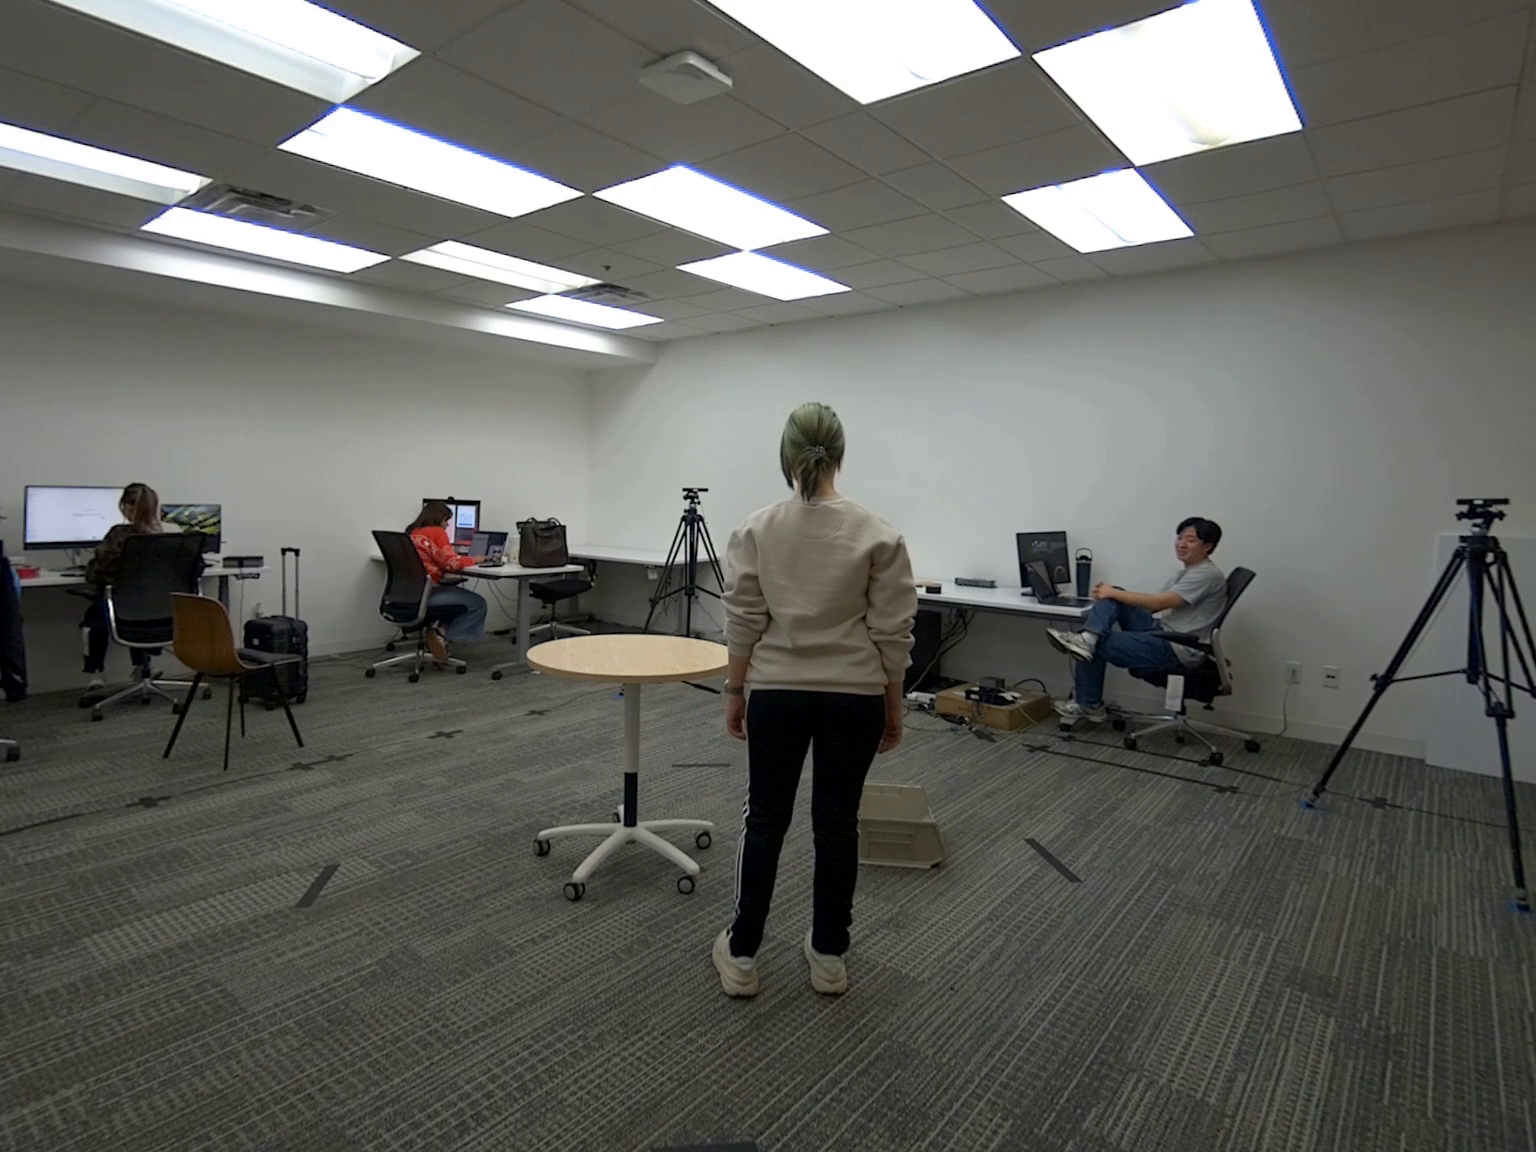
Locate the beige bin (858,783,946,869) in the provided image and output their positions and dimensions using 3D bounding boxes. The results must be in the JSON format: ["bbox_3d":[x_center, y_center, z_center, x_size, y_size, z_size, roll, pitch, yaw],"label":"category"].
[{"bbox_3d":[0.480,0.969,3.373,0.380,0.188,0.422,0,6,5],"label":"beige bin"}]
